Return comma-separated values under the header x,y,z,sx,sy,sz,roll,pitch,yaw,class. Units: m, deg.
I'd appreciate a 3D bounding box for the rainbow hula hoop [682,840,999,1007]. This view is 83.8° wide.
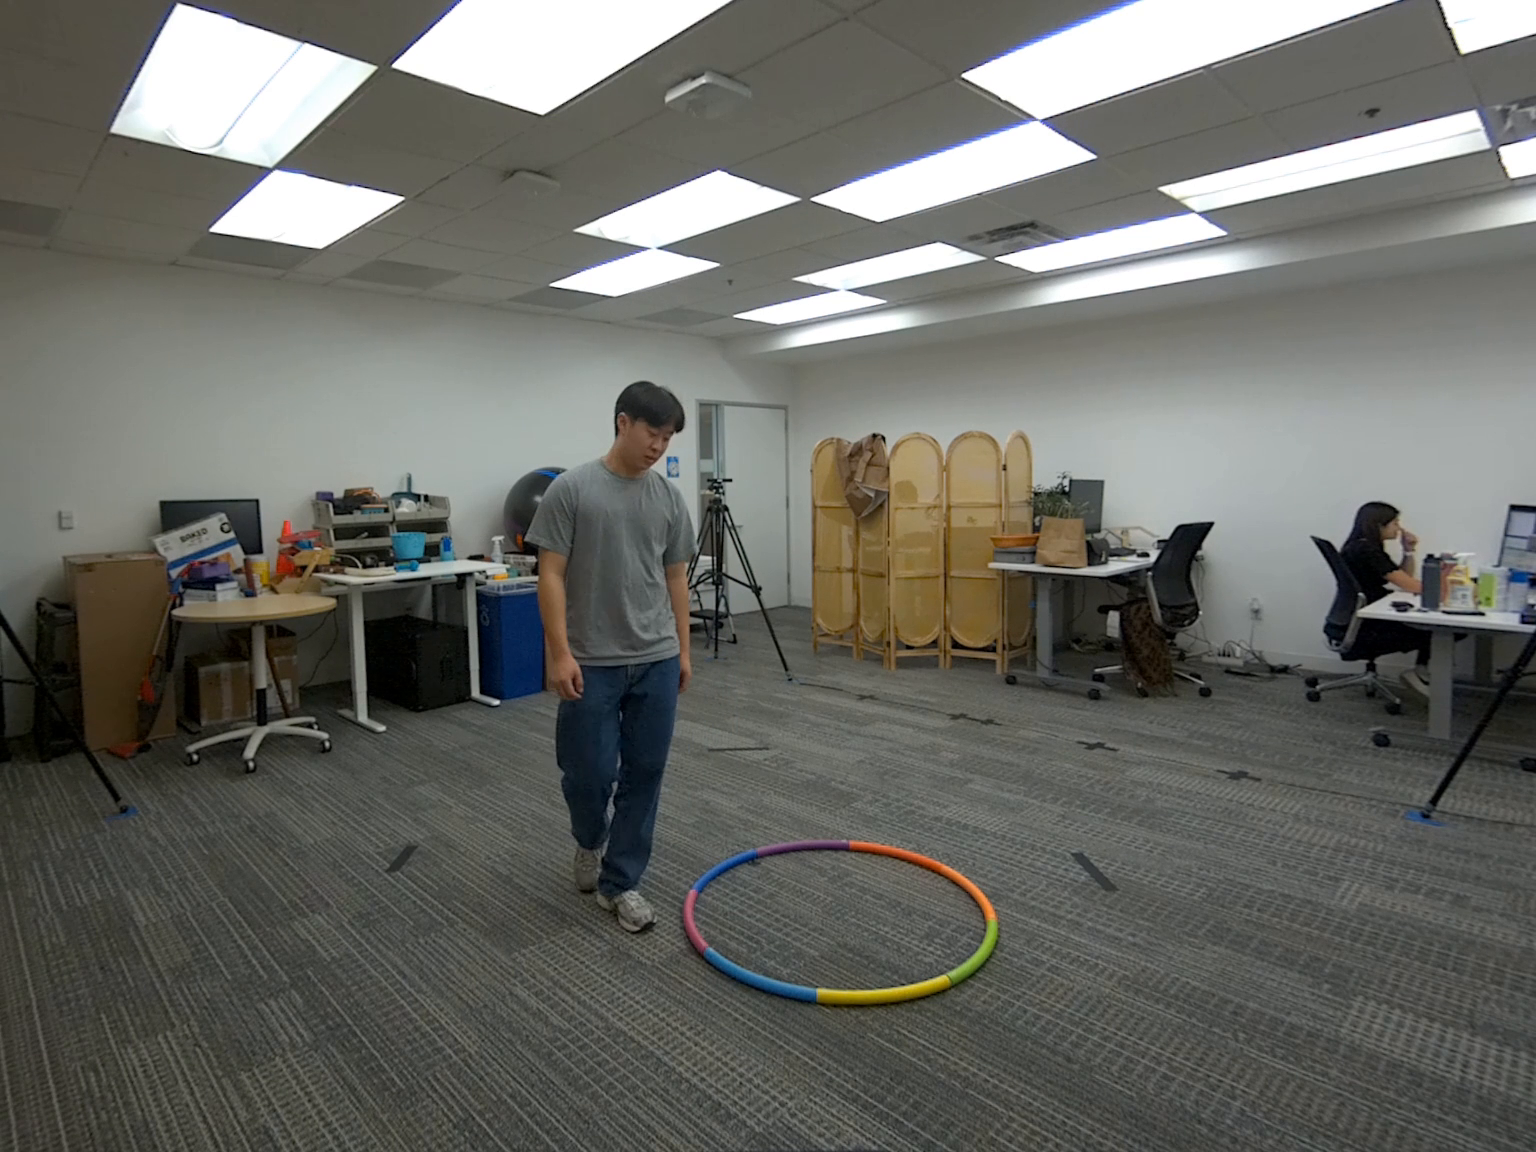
x,y,z,sx,sy,sz,roll,pitch,yaw,class
0.216,1.054,2.742,0.978,0.035,0.984,-1,7,-2,rainbow hula hoop
